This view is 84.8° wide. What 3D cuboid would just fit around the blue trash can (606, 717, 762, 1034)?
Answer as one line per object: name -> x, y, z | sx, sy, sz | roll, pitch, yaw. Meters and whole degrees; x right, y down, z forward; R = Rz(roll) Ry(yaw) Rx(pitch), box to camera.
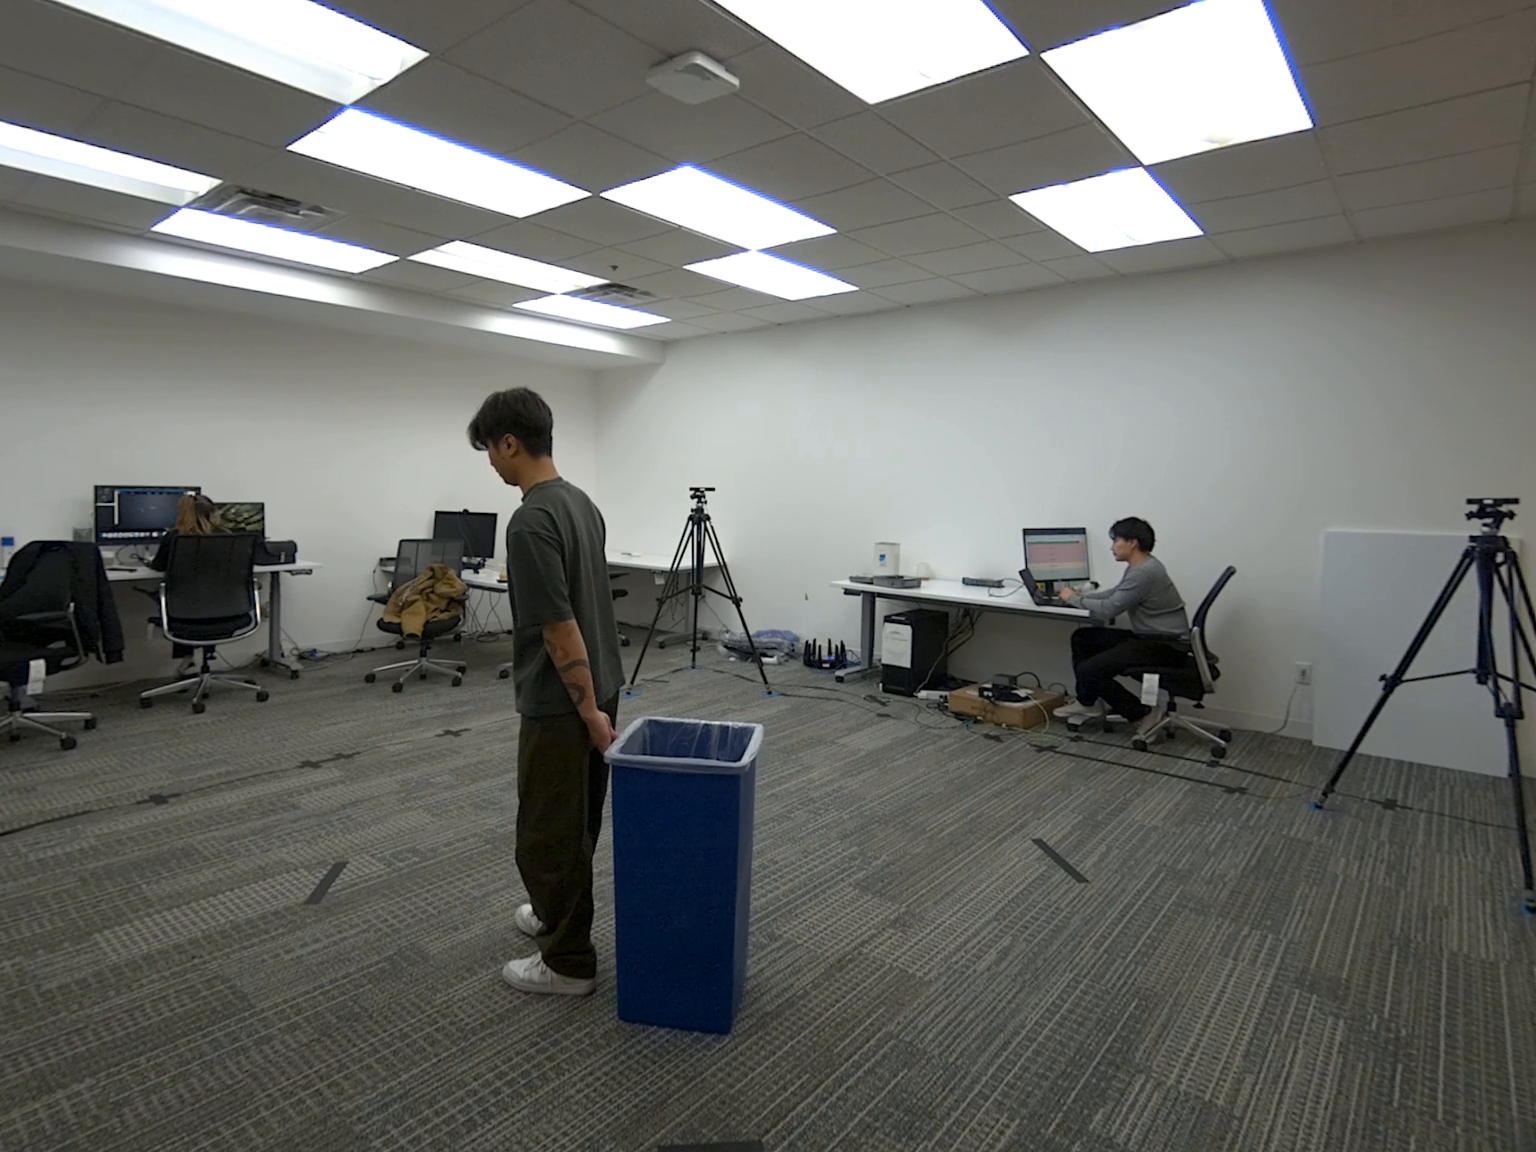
blue trash can -> -0.225, 0.792, 2.297 | 0.382, 0.711, 0.371 | 2, 3, 9
